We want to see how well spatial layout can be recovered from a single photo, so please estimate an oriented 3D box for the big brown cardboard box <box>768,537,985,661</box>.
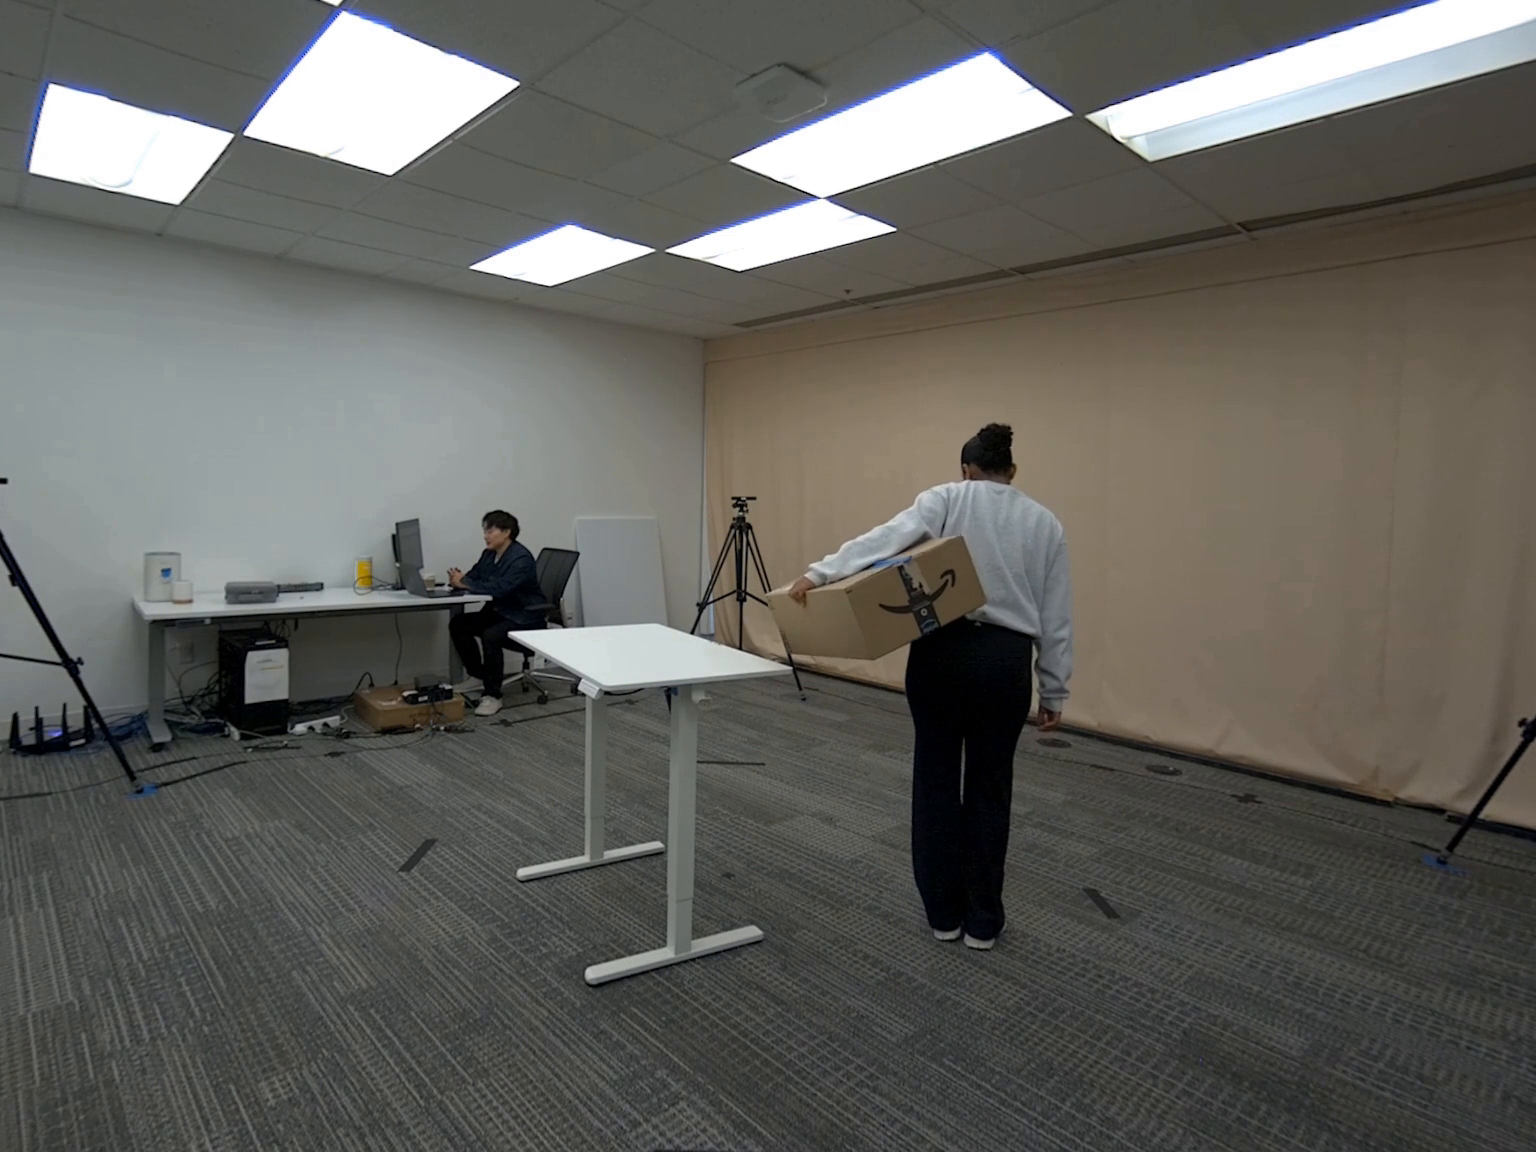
[{"bbox_3d":[0.304,0.074,2.615,0.414,0.232,0.597,-24,7,-22],"label":"big brown cardboard box"}]
